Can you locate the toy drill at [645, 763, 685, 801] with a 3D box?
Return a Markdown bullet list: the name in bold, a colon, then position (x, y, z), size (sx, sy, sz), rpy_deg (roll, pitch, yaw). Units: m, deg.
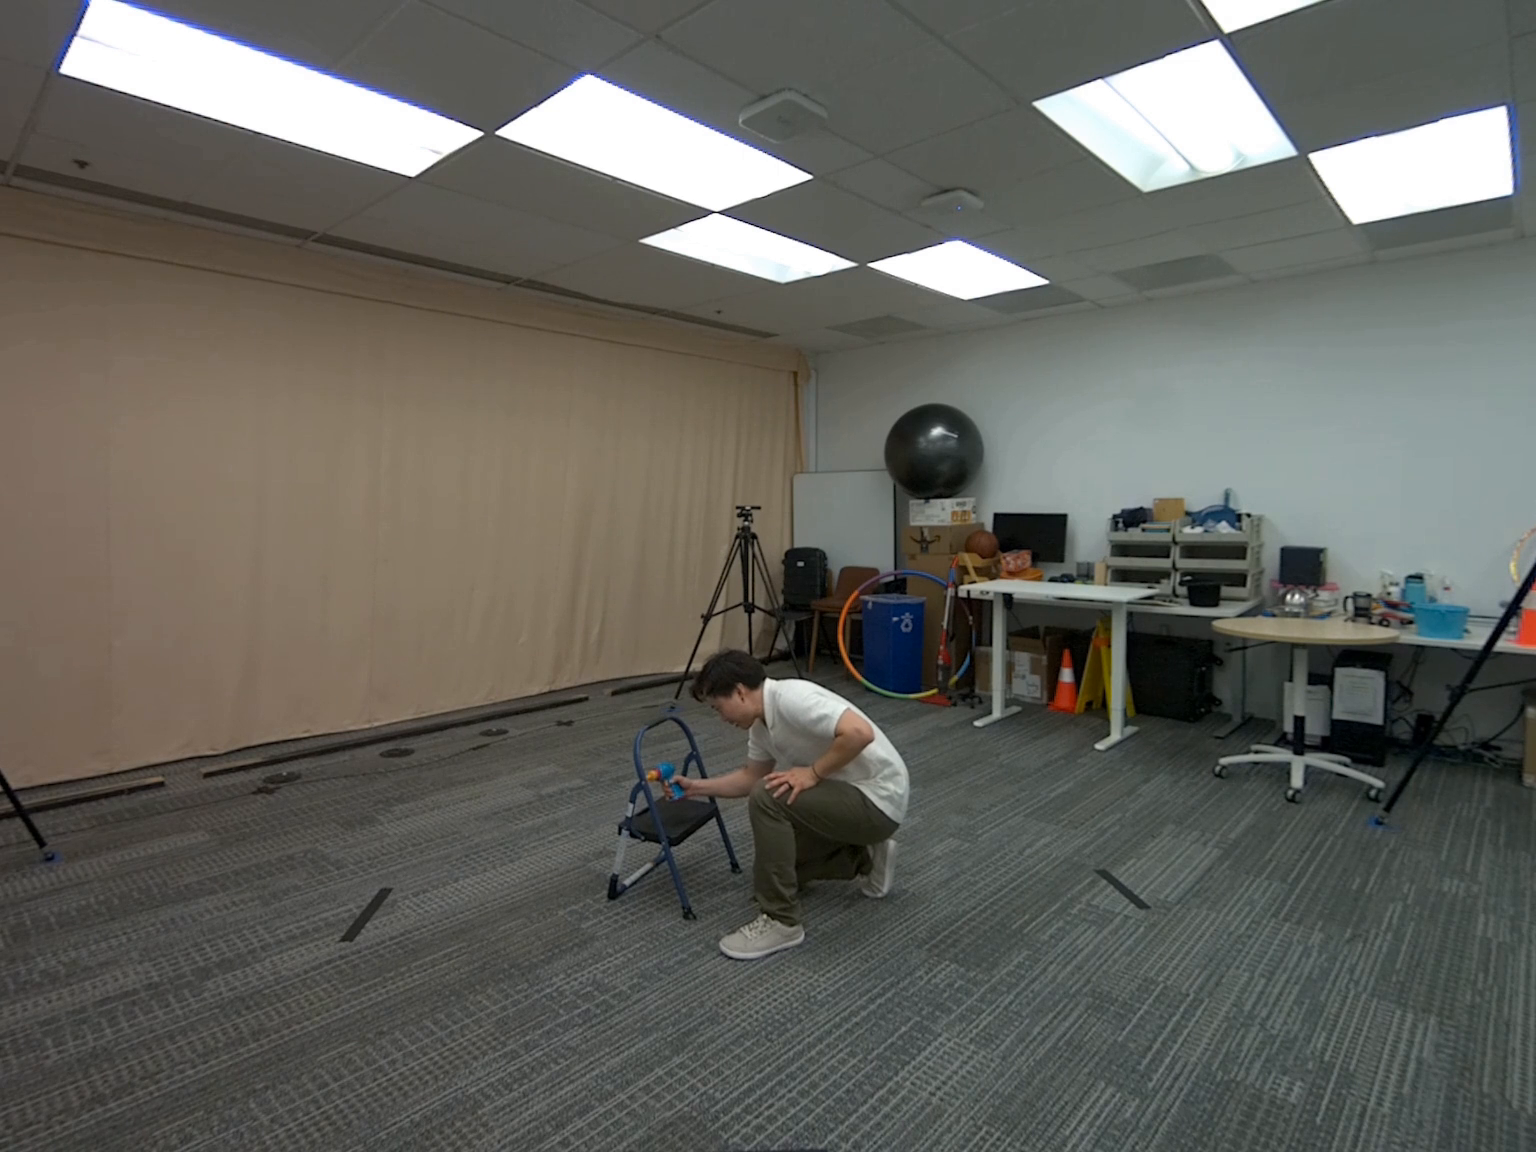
- **toy drill**: position (-0.369, 0.753, 3.009), size (0.061, 0.149, 0.165), rpy_deg (-45, -23, 23)
